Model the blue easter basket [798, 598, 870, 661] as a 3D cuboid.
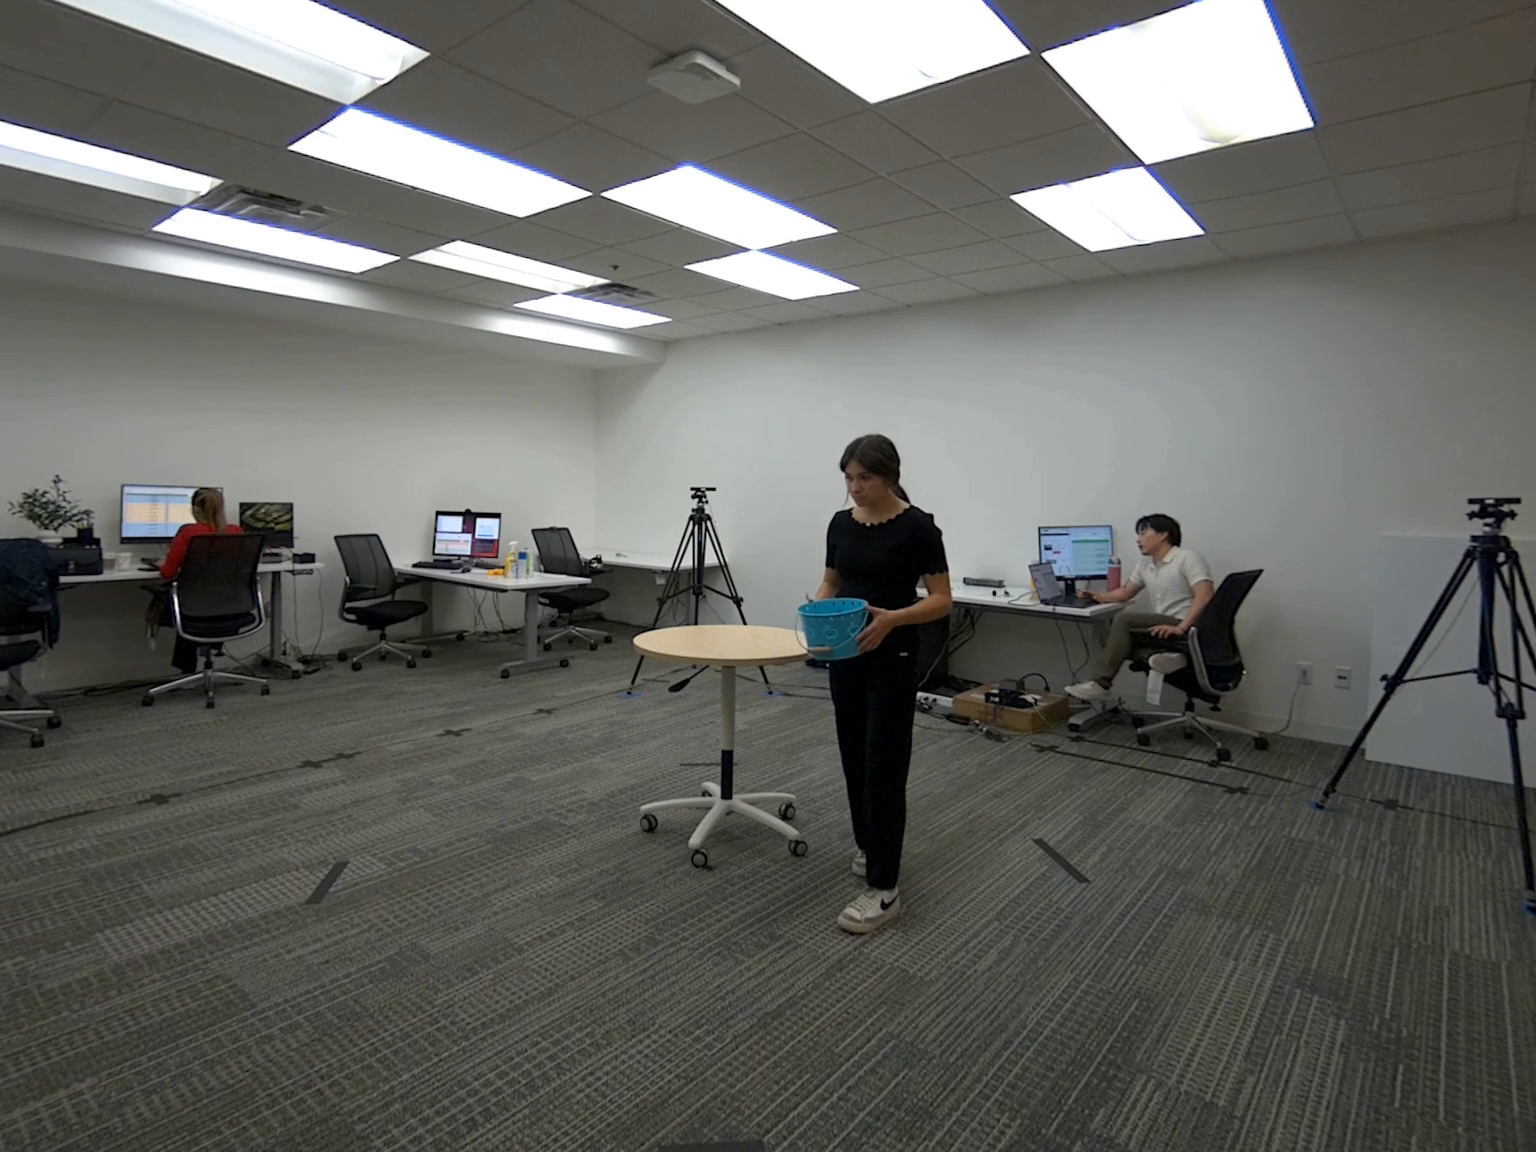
[{"bbox_3d":[0.211,0.169,2.762,0.243,0.155,0.246,-5,9,-1],"label":"blue easter basket"}]
